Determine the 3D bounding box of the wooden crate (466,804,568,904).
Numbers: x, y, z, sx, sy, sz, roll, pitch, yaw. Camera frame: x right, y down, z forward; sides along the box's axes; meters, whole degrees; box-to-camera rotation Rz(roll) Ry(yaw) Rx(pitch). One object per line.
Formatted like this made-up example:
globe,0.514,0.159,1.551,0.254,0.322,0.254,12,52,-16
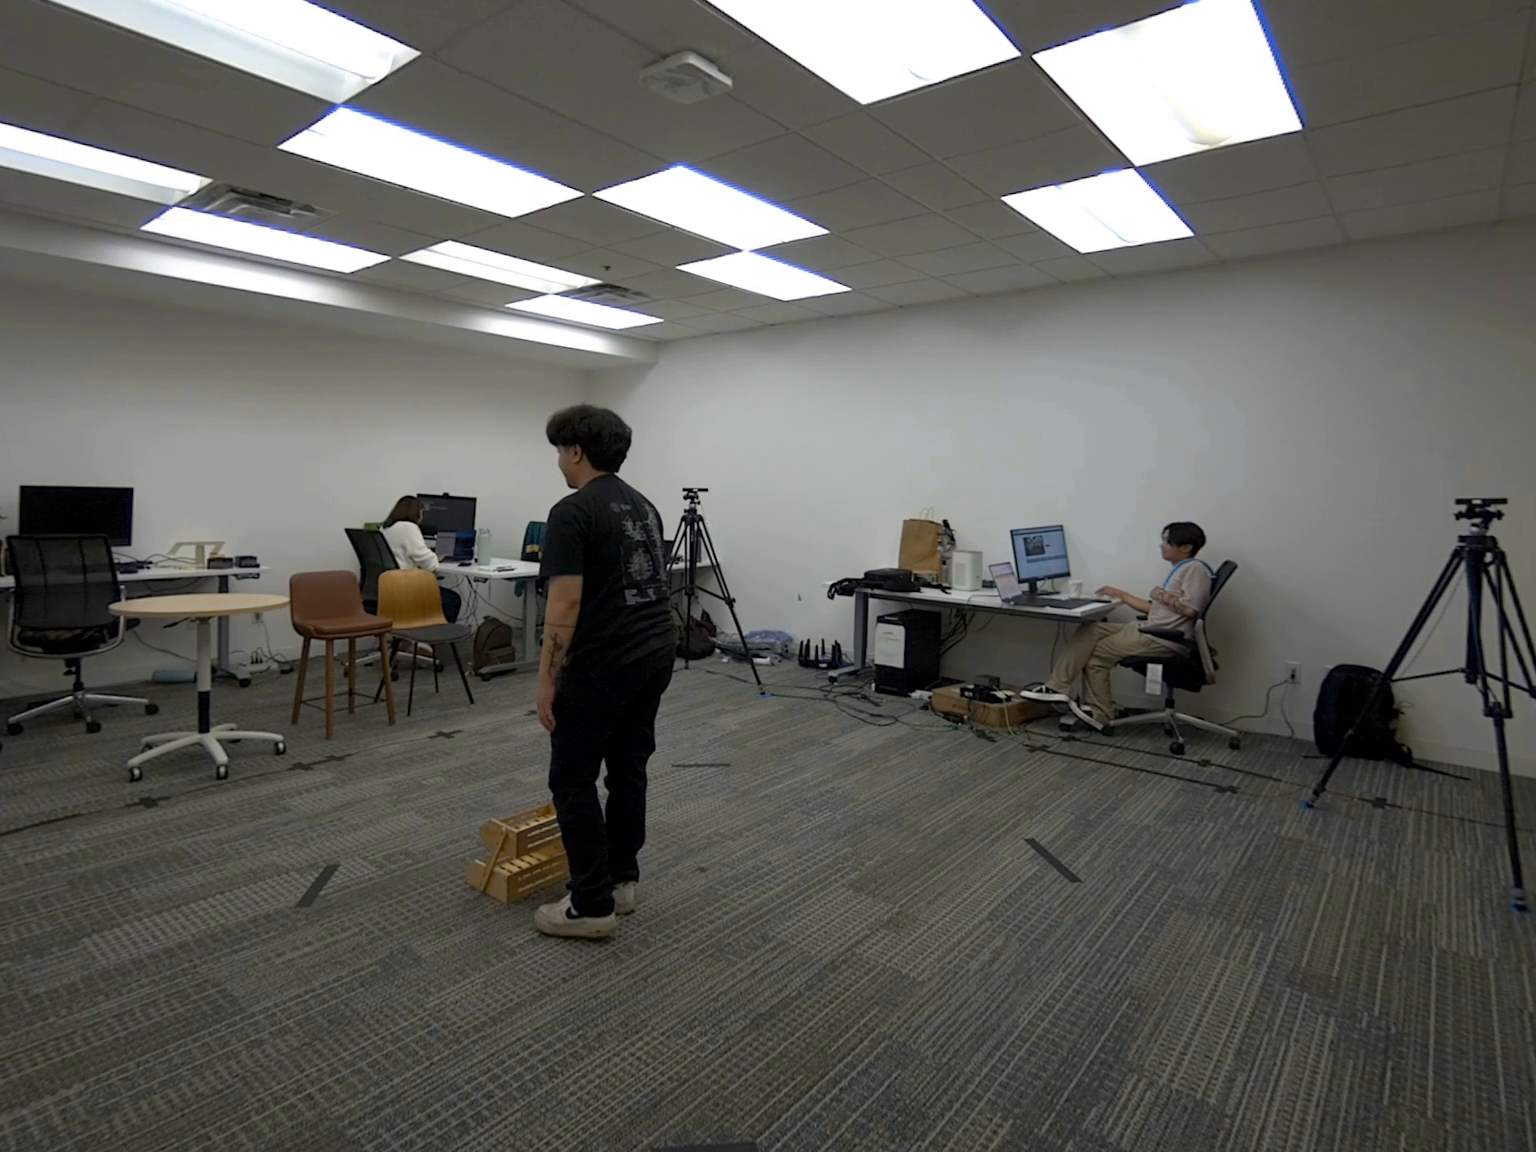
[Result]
wooden crate,-0.873,0.935,2.997,0.312,0.272,0.315,6,6,37
